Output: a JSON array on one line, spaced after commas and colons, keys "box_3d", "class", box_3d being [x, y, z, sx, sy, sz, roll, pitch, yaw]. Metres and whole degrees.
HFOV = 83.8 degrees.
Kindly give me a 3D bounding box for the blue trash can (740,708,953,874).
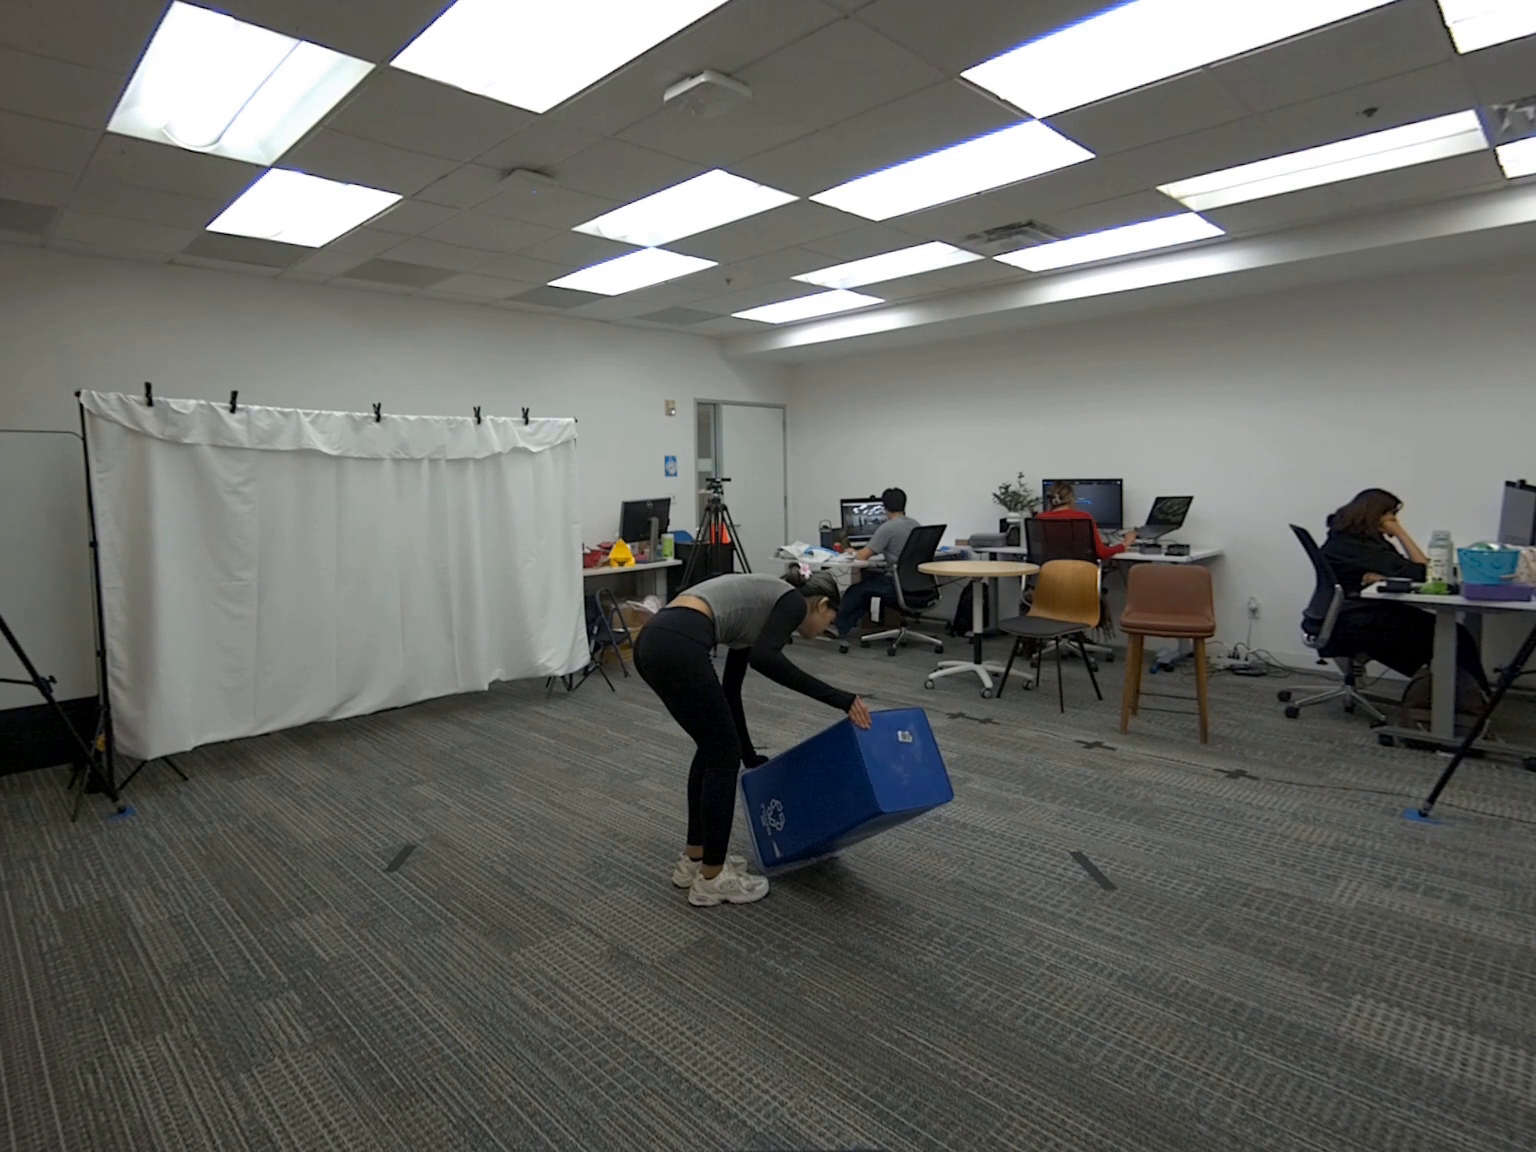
[{"box_3d": [0.254, 0.715, 2.885, 0.368, 0.384, 0.713, 1, -29, -32], "class": "blue trash can"}]
